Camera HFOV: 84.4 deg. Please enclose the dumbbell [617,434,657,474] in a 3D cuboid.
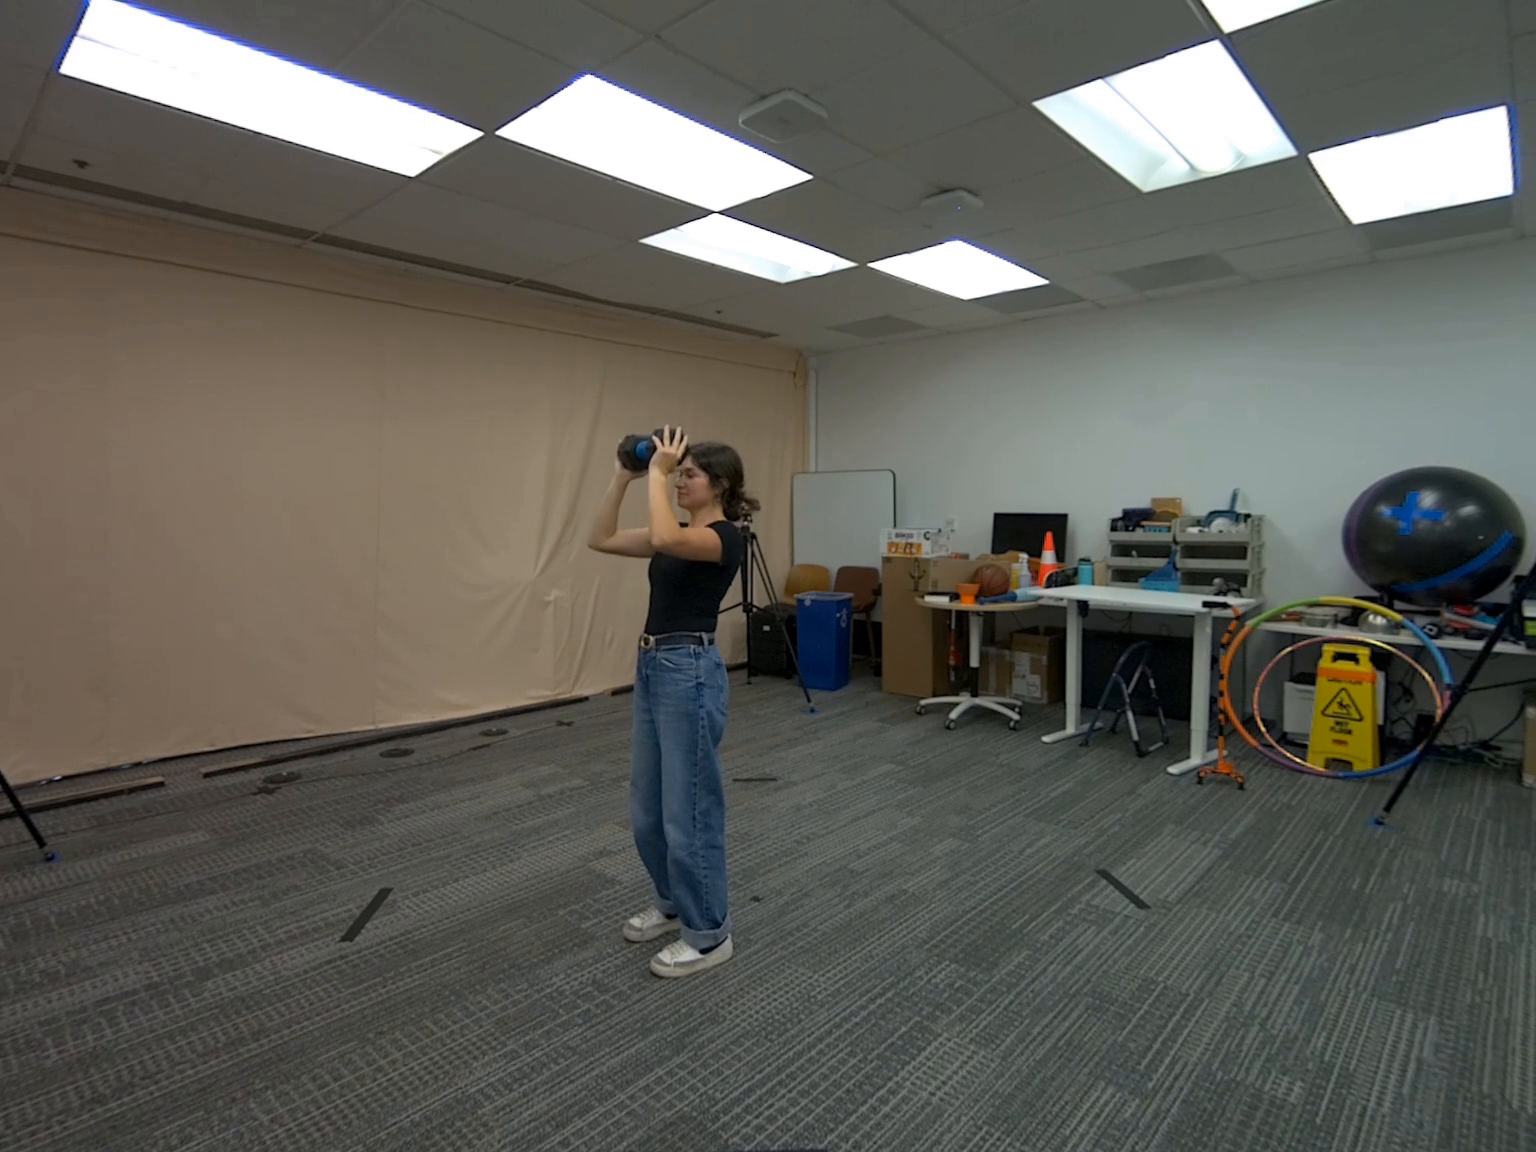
[{"bbox_3d":[-0.349,-0.391,2.594,0.107,0.121,0.302,-36,21,-24],"label":"dumbbell"}]
